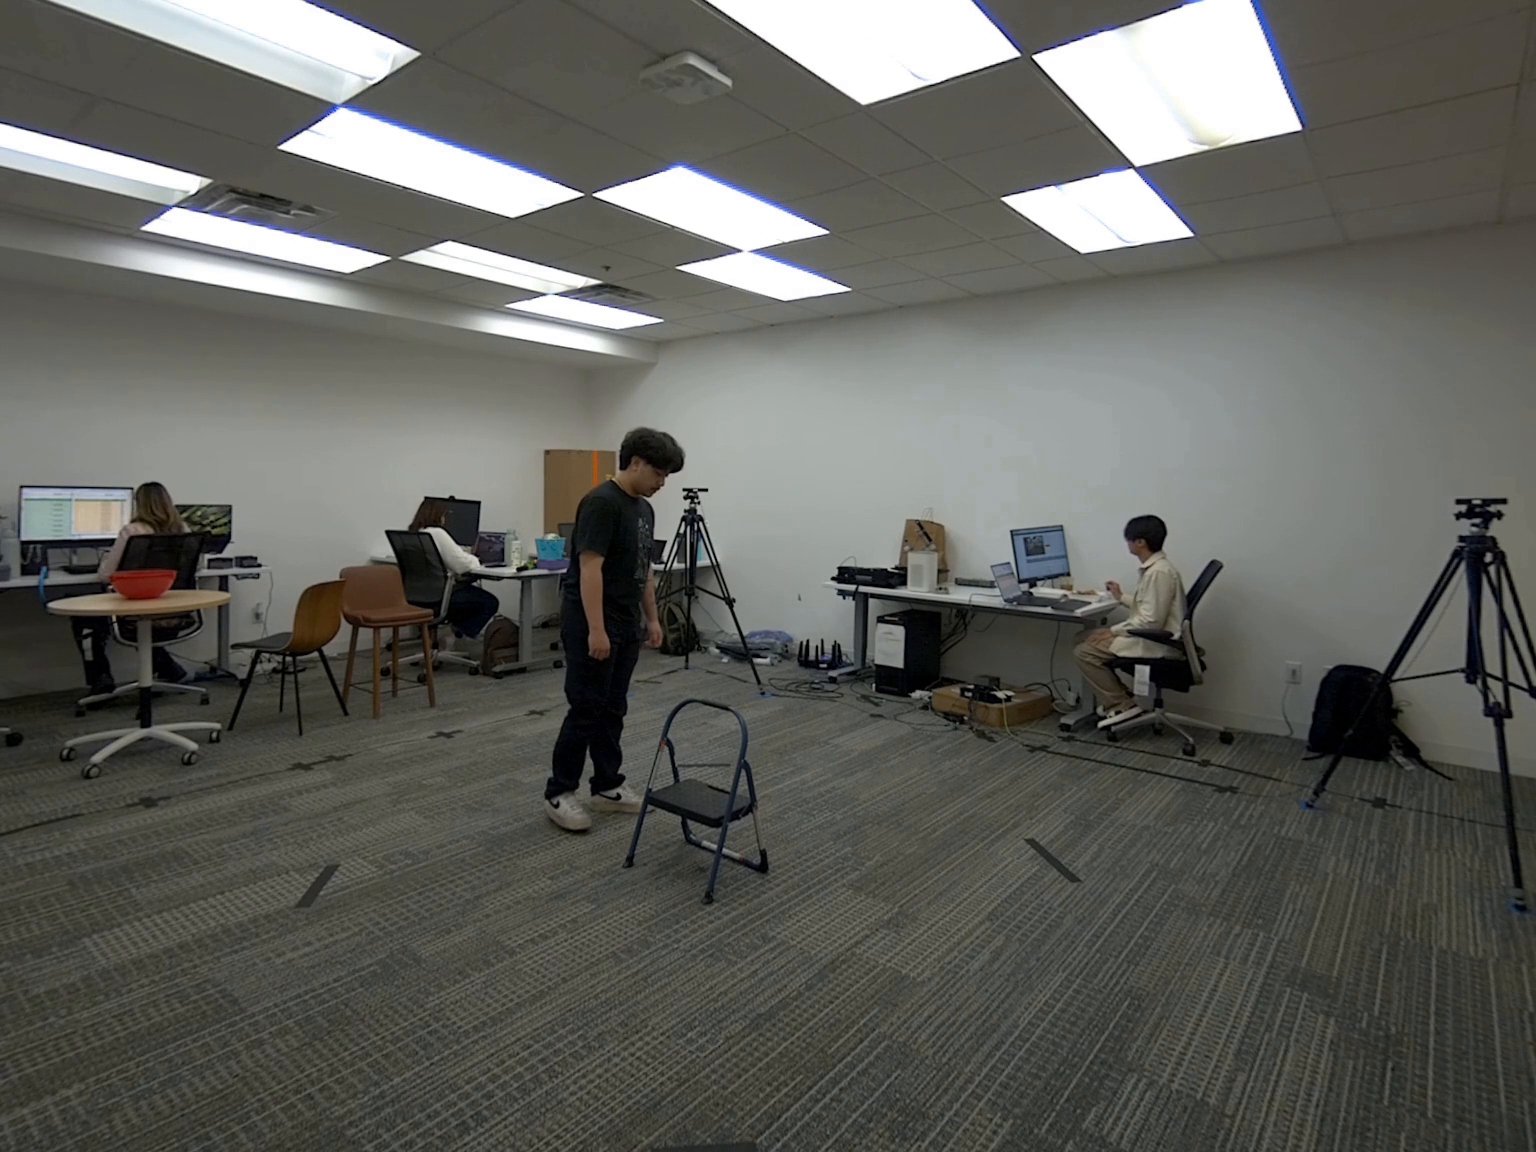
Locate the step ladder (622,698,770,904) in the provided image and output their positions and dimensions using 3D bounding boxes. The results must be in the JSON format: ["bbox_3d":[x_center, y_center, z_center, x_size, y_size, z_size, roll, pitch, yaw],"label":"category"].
[{"bbox_3d":[-0.266,0.765,3.094,0.445,0.604,0.339,4,5,39],"label":"step ladder"}]
